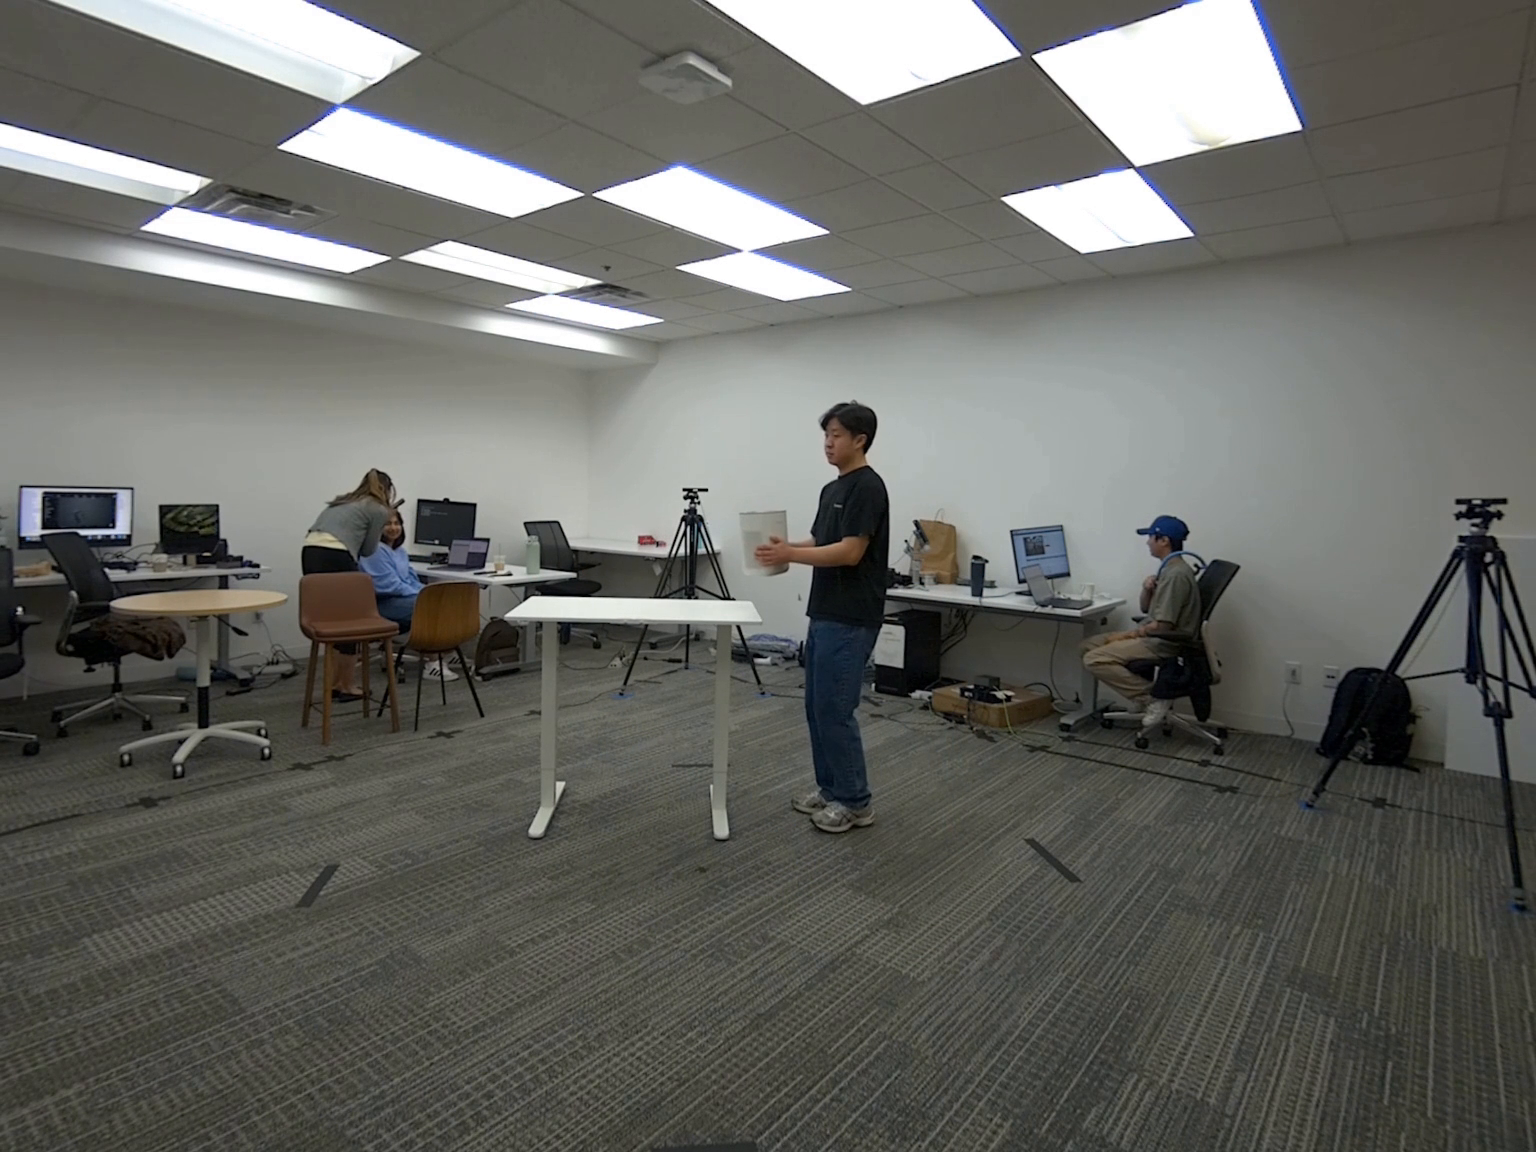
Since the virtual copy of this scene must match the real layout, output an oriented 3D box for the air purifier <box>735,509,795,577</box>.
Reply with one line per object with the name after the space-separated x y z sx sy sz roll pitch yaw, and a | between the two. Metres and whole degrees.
-0.014 -0.143 3.557 0.177 0.264 0.167 -1 6 34 | air purifier
